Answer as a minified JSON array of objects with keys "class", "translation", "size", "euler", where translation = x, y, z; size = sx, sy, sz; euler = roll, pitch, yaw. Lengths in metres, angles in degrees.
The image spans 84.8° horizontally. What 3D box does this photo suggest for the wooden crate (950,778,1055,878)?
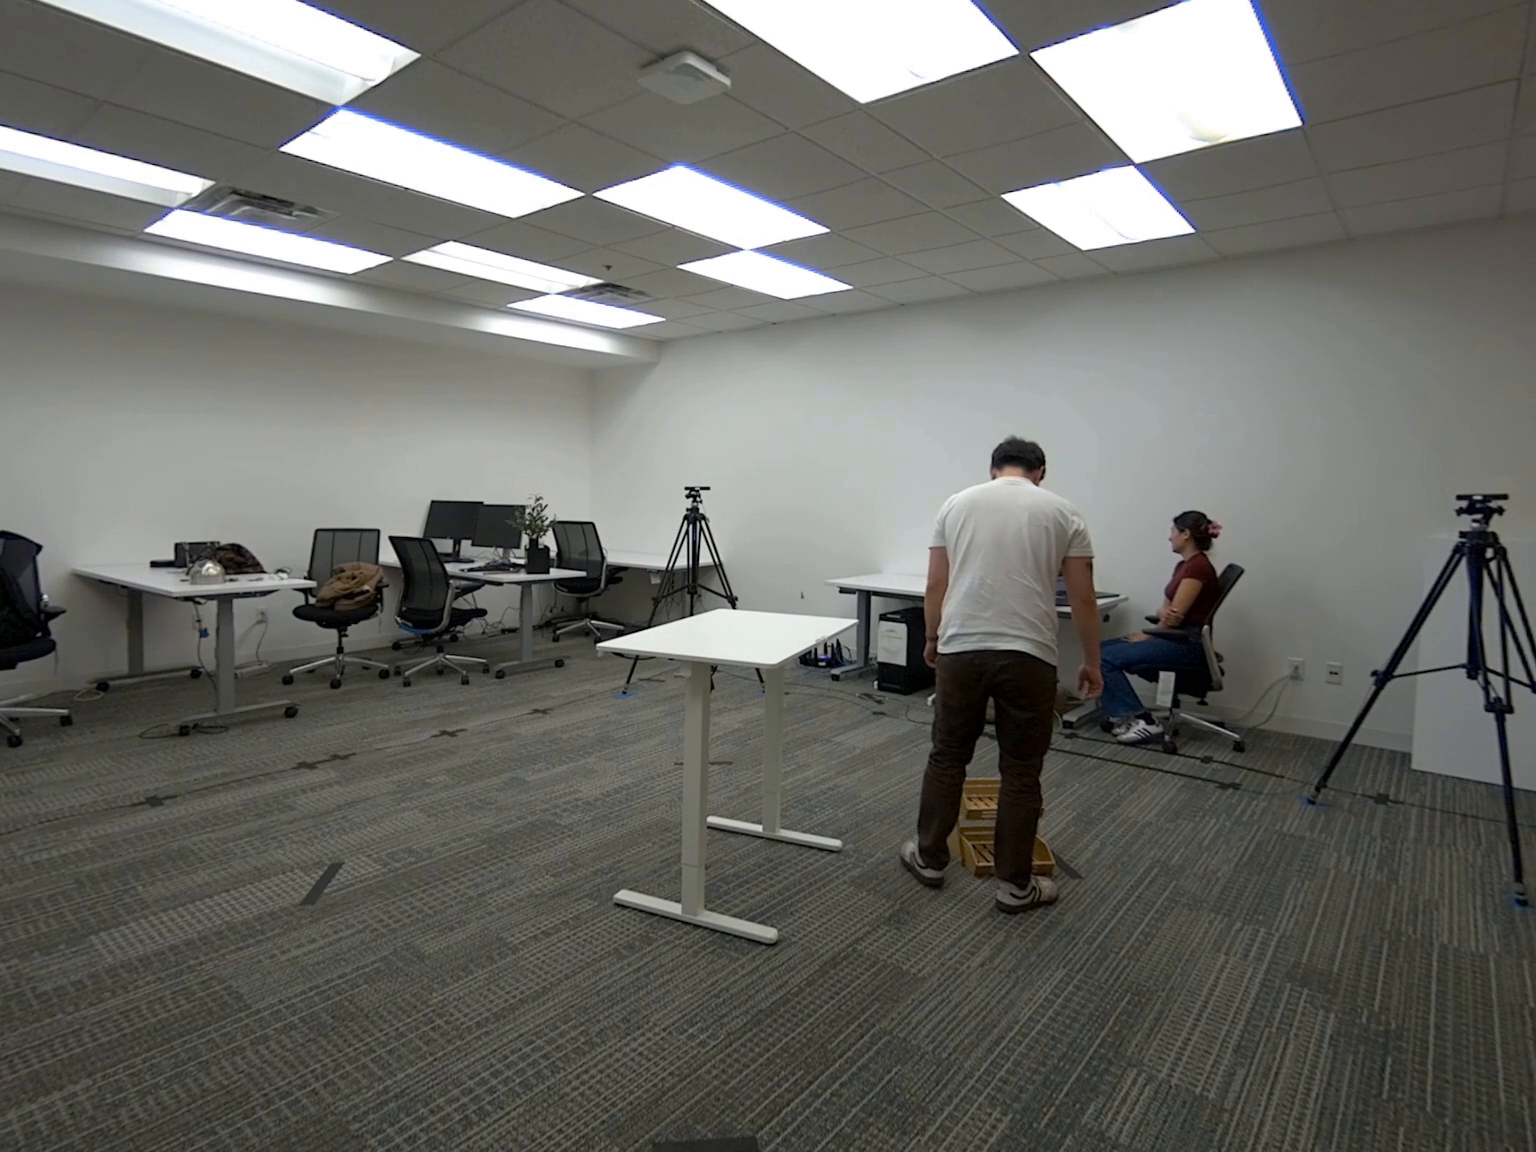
[{"class":"wooden crate","translation":[0.879,0.940,3.227],"size":[0.322,0.272,0.305],"euler":[0,5,-8]}]
